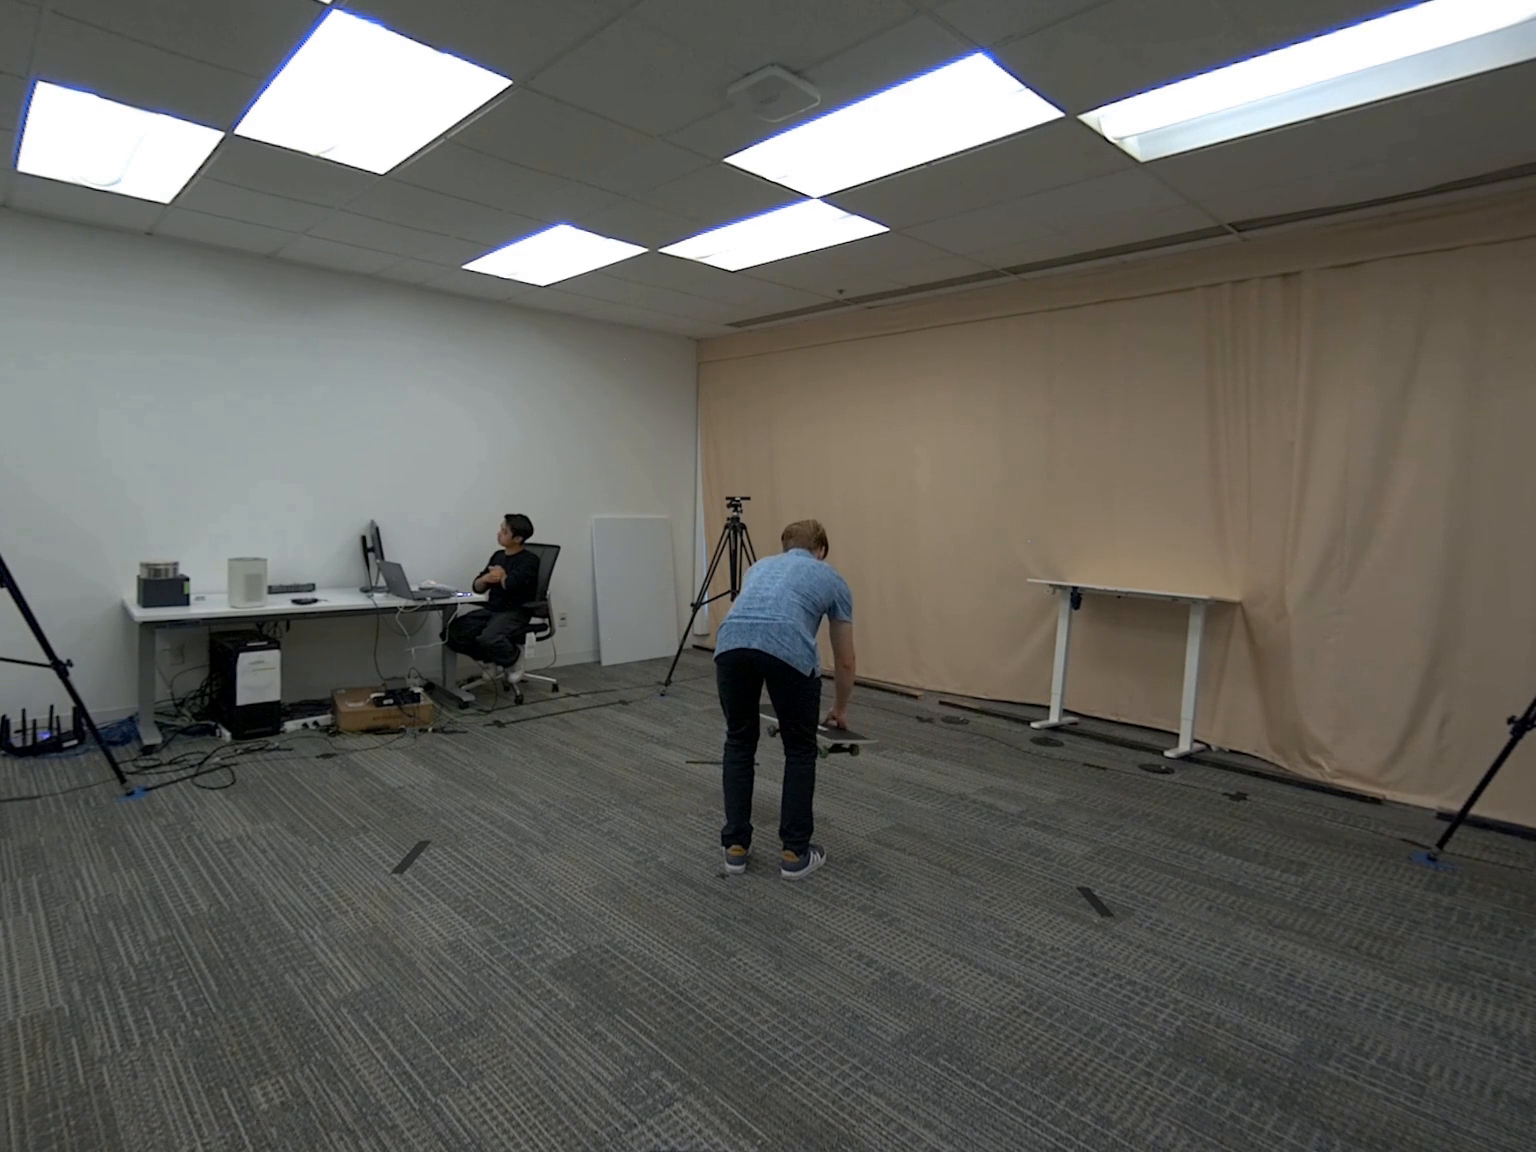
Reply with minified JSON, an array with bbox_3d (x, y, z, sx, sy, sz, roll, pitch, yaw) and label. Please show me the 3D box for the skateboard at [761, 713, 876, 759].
[{"bbox_3d":[0.182,0.664,3.567,0.189,0.110,0.801,4,0,-29],"label":"skateboard"}]
